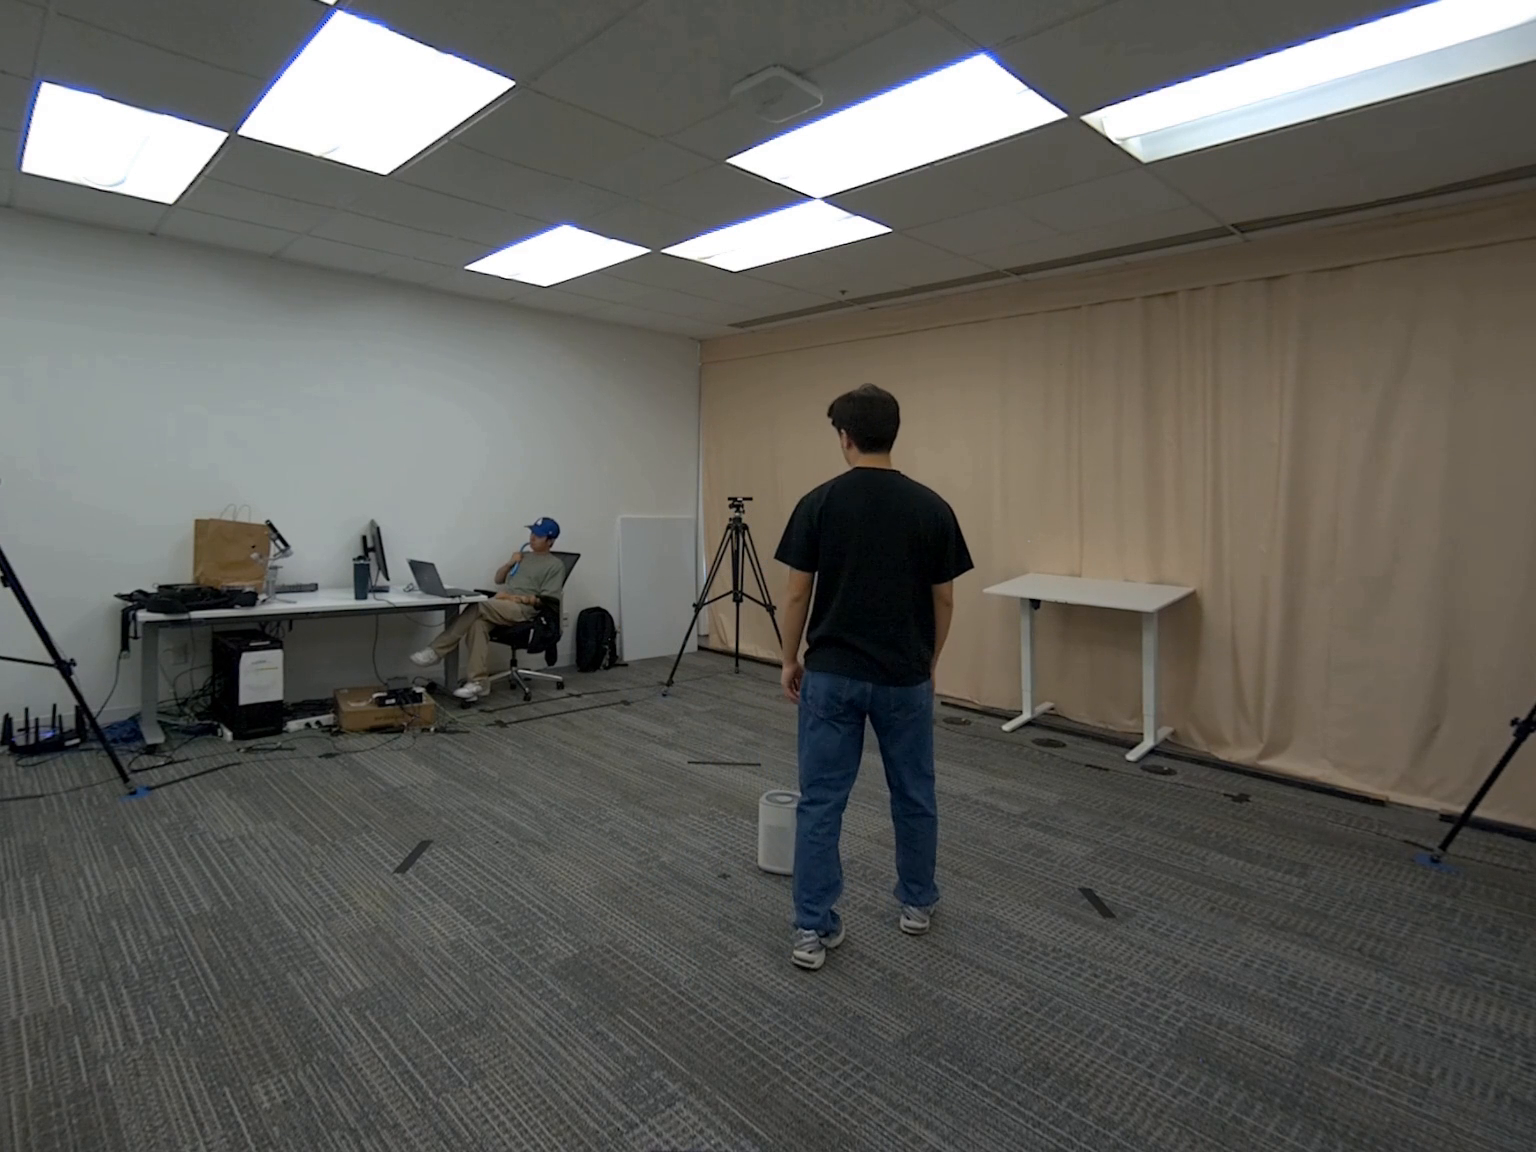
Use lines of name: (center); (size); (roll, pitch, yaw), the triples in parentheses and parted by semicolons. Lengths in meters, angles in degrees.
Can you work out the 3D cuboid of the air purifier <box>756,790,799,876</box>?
air purifier: (0.050, 0.968, 3.185); (0.174, 0.265, 0.169); (3, 4, 19)
